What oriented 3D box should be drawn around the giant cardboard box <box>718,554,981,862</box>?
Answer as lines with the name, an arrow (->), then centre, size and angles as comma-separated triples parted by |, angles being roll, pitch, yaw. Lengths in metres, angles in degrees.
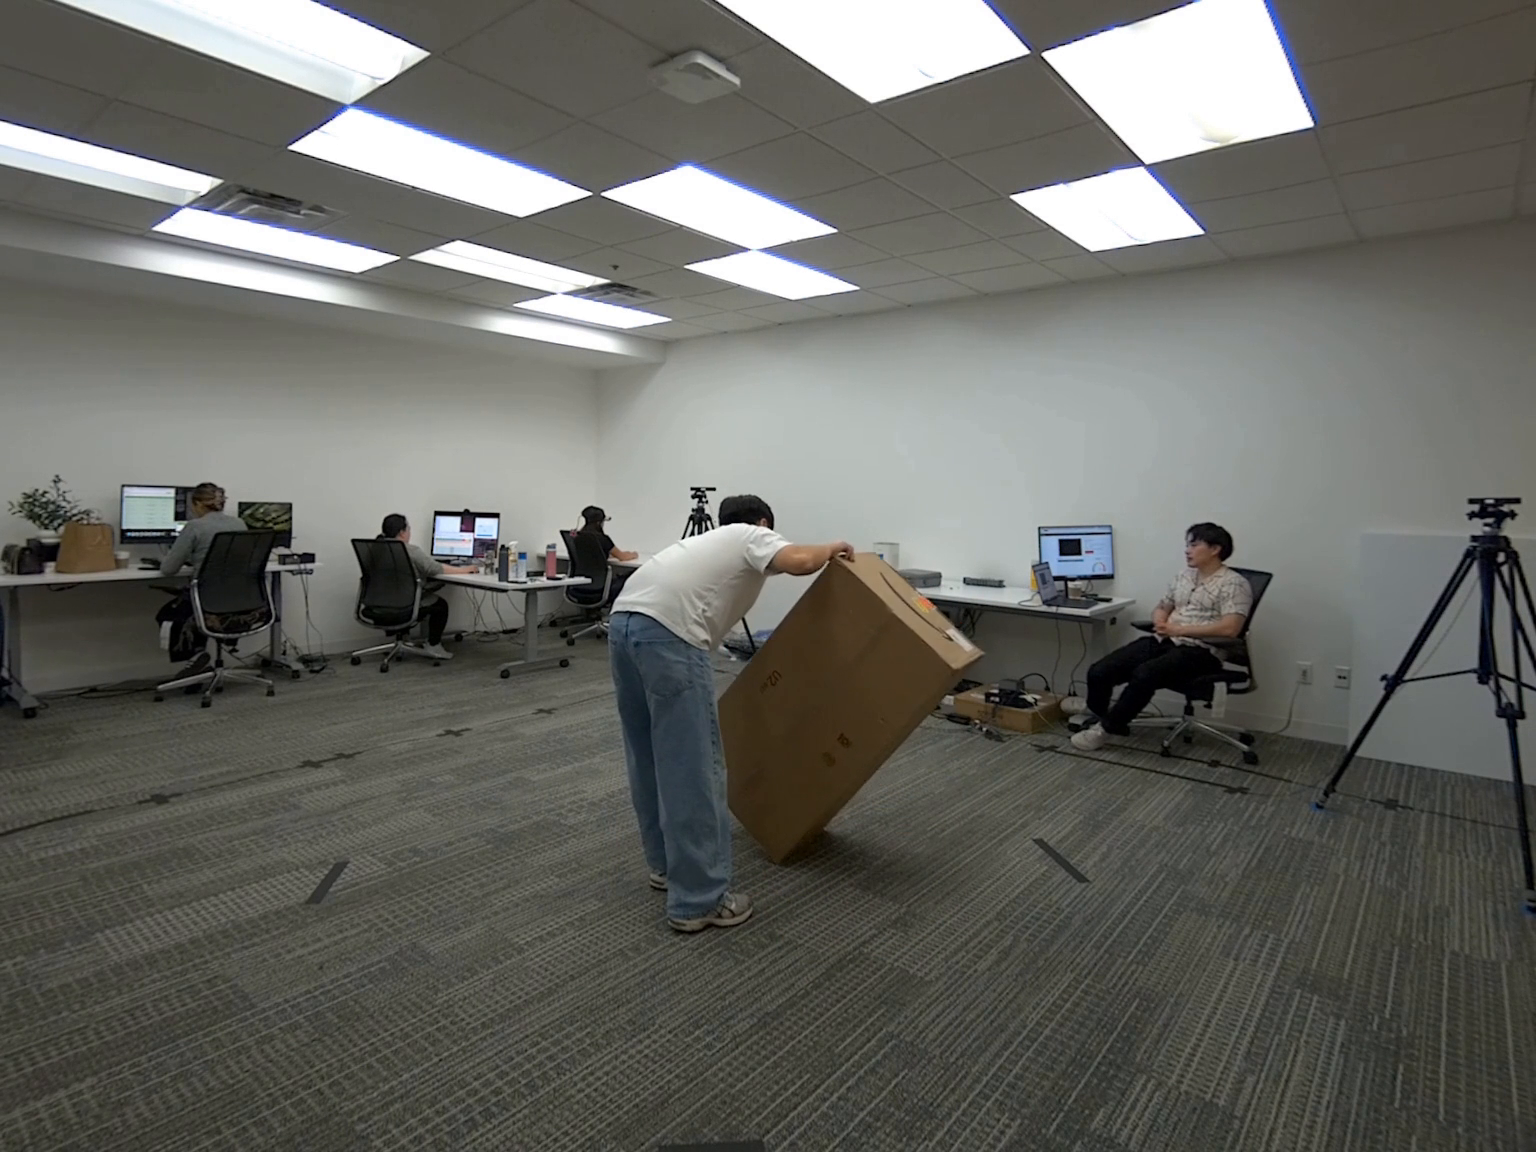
giant cardboard box -> 0.221, 0.484, 3.262 | 0.595, 1.023, 0.415 | 45, 21, 20
